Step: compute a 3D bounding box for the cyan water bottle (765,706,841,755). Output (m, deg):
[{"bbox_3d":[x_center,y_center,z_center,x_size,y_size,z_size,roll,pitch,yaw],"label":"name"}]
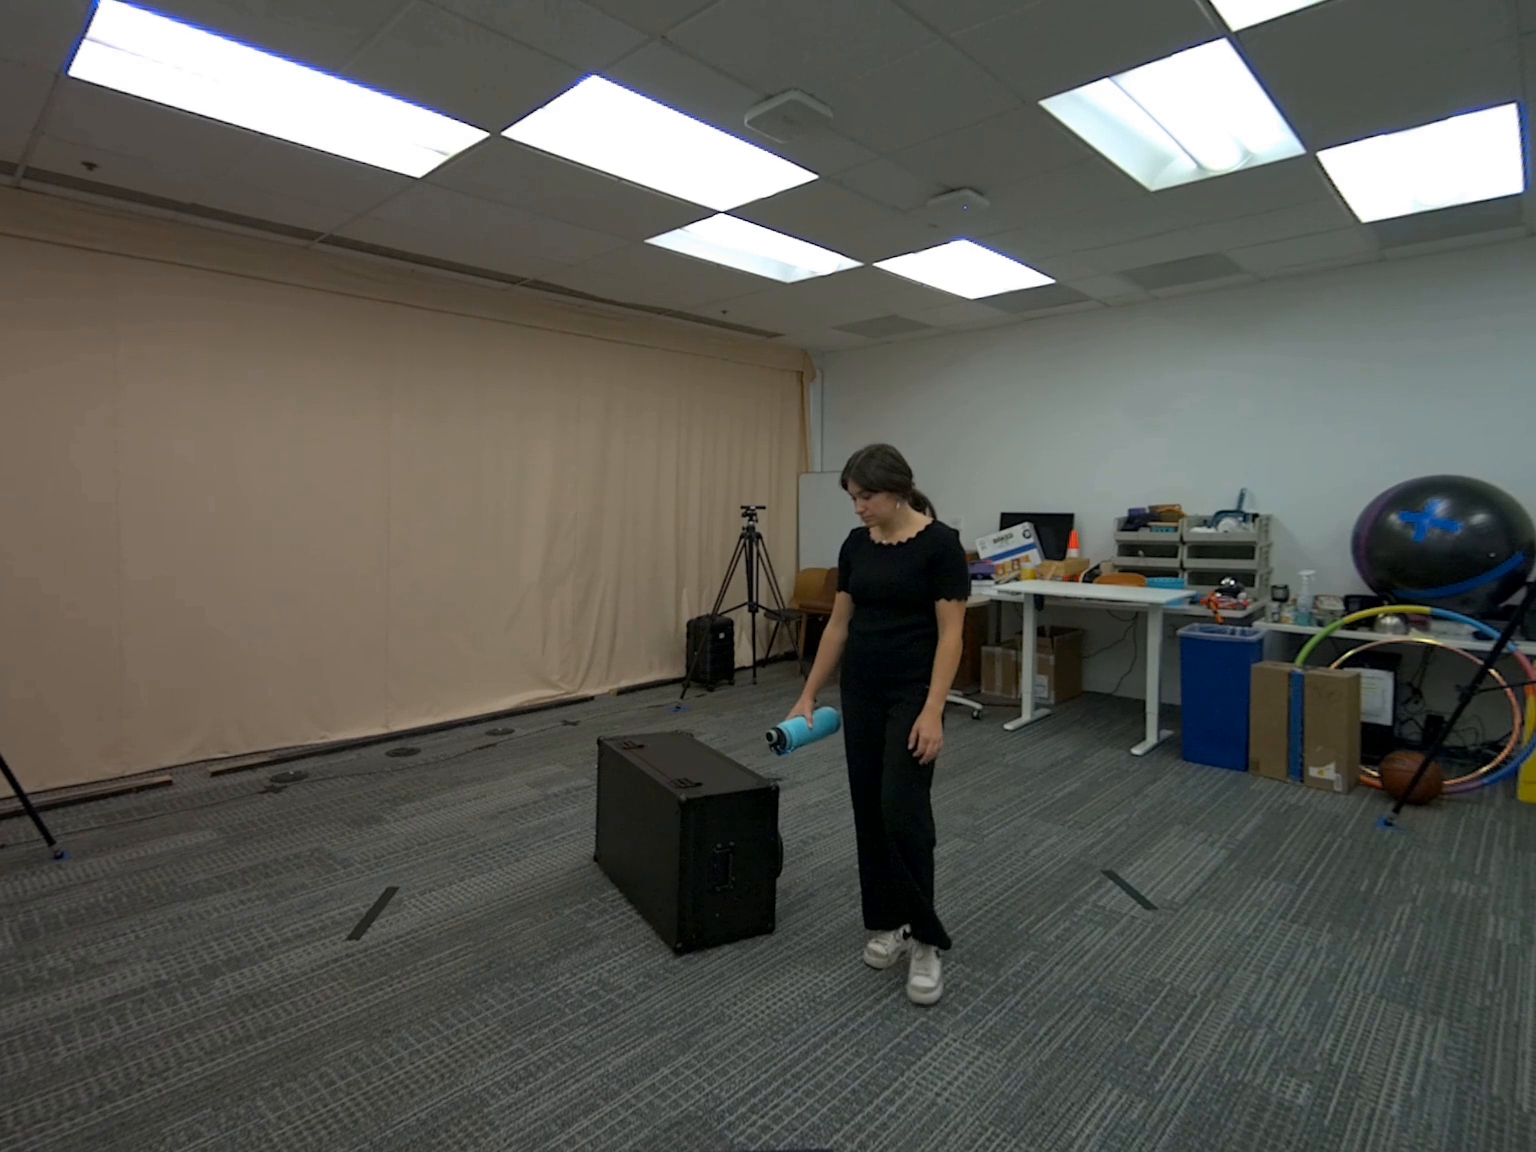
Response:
[{"bbox_3d":[0.122,0.491,2.643,0.275,0.092,0.095,-11,10,-43],"label":"cyan water bottle"}]
